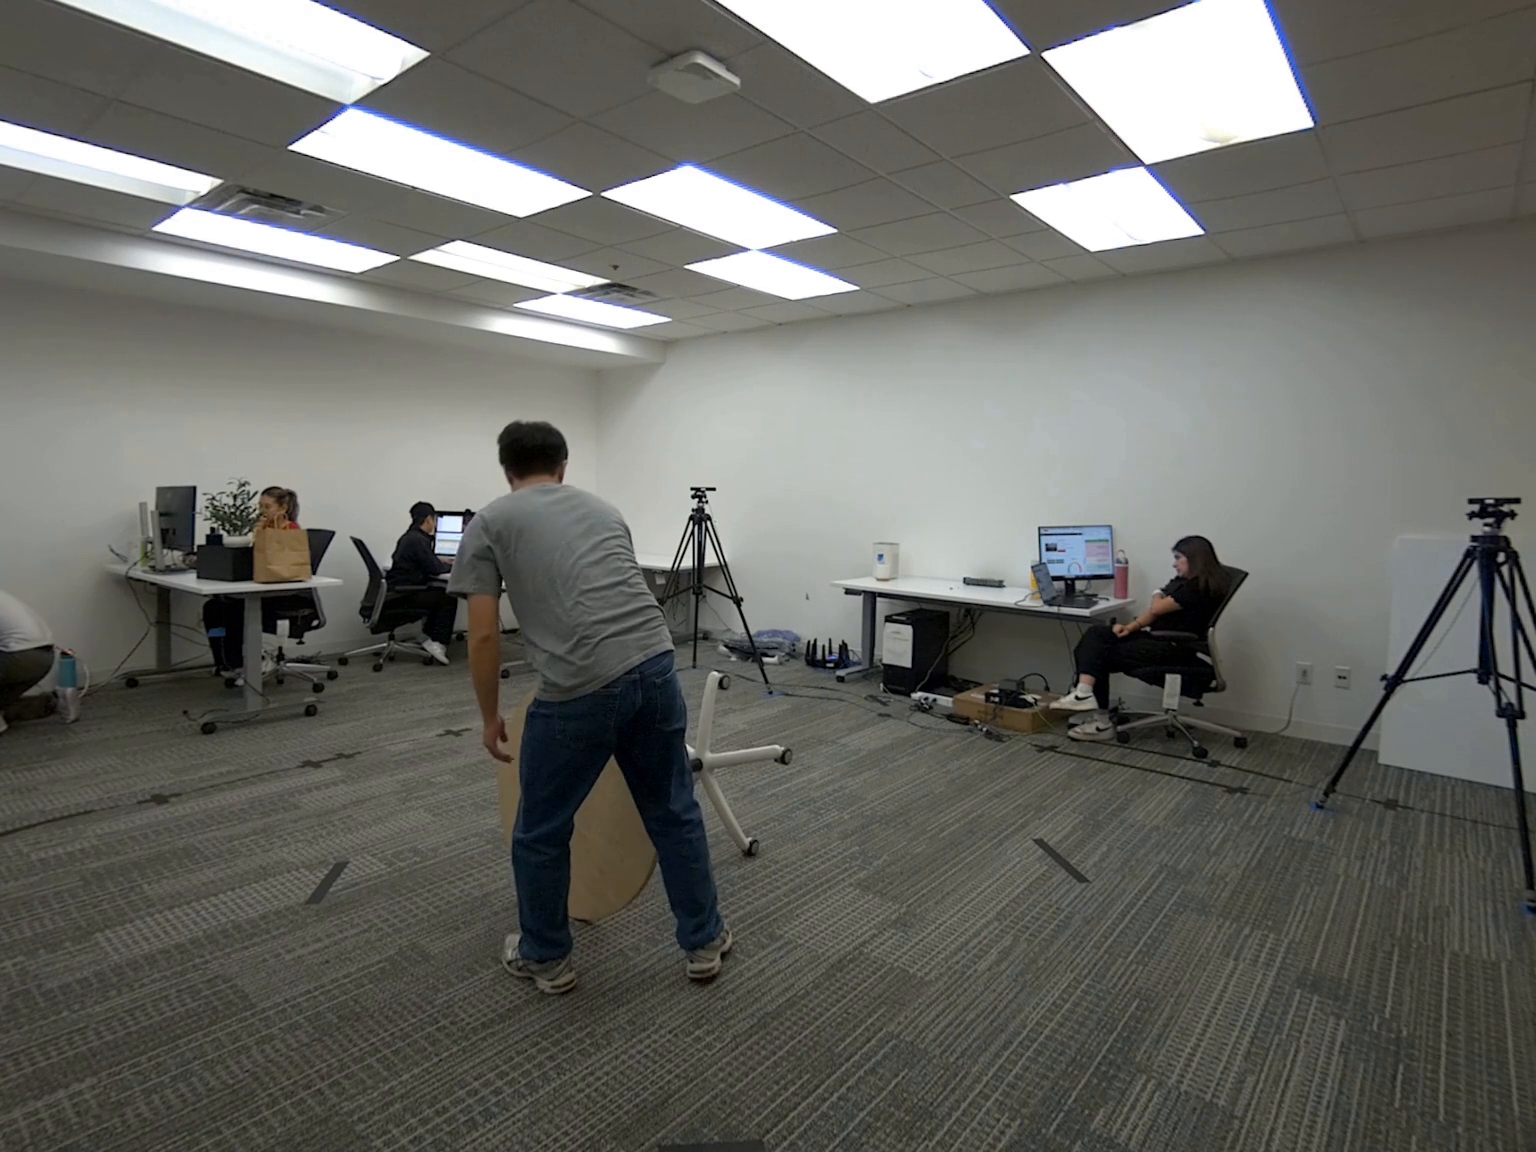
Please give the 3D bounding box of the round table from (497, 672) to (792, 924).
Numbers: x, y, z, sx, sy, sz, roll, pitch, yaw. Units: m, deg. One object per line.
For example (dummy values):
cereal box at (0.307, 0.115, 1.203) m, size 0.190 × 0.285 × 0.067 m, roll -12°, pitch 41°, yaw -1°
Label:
round table at (-0.426, 0.722, 3.077) m, size 0.789 × 0.765 × 0.768 m, roll 4°, pitch -1°, yaw 36°
